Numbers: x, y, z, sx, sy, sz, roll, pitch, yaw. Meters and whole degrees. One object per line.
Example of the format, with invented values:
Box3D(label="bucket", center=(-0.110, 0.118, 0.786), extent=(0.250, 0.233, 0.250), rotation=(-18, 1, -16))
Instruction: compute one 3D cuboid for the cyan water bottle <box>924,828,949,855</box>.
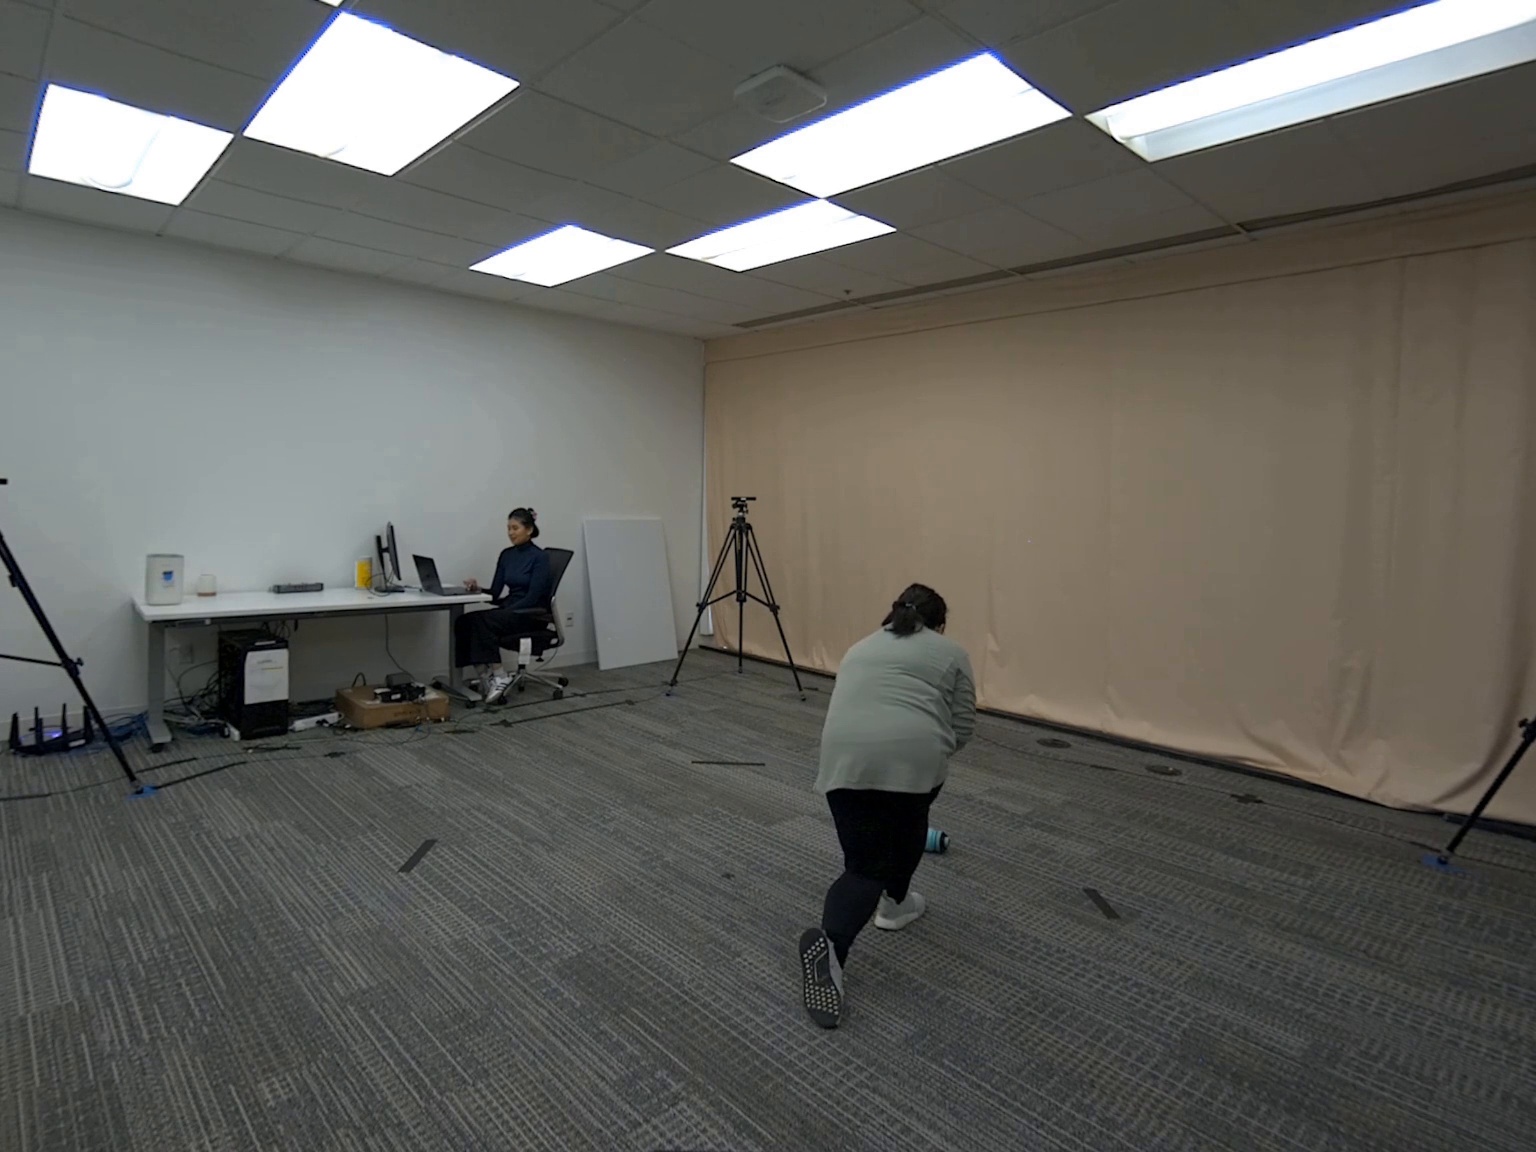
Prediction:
Box3D(label="cyan water bottle", center=(0.581, 1.054, 3.403), extent=(0.288, 0.092, 0.091), rotation=(3, 4, 20))
